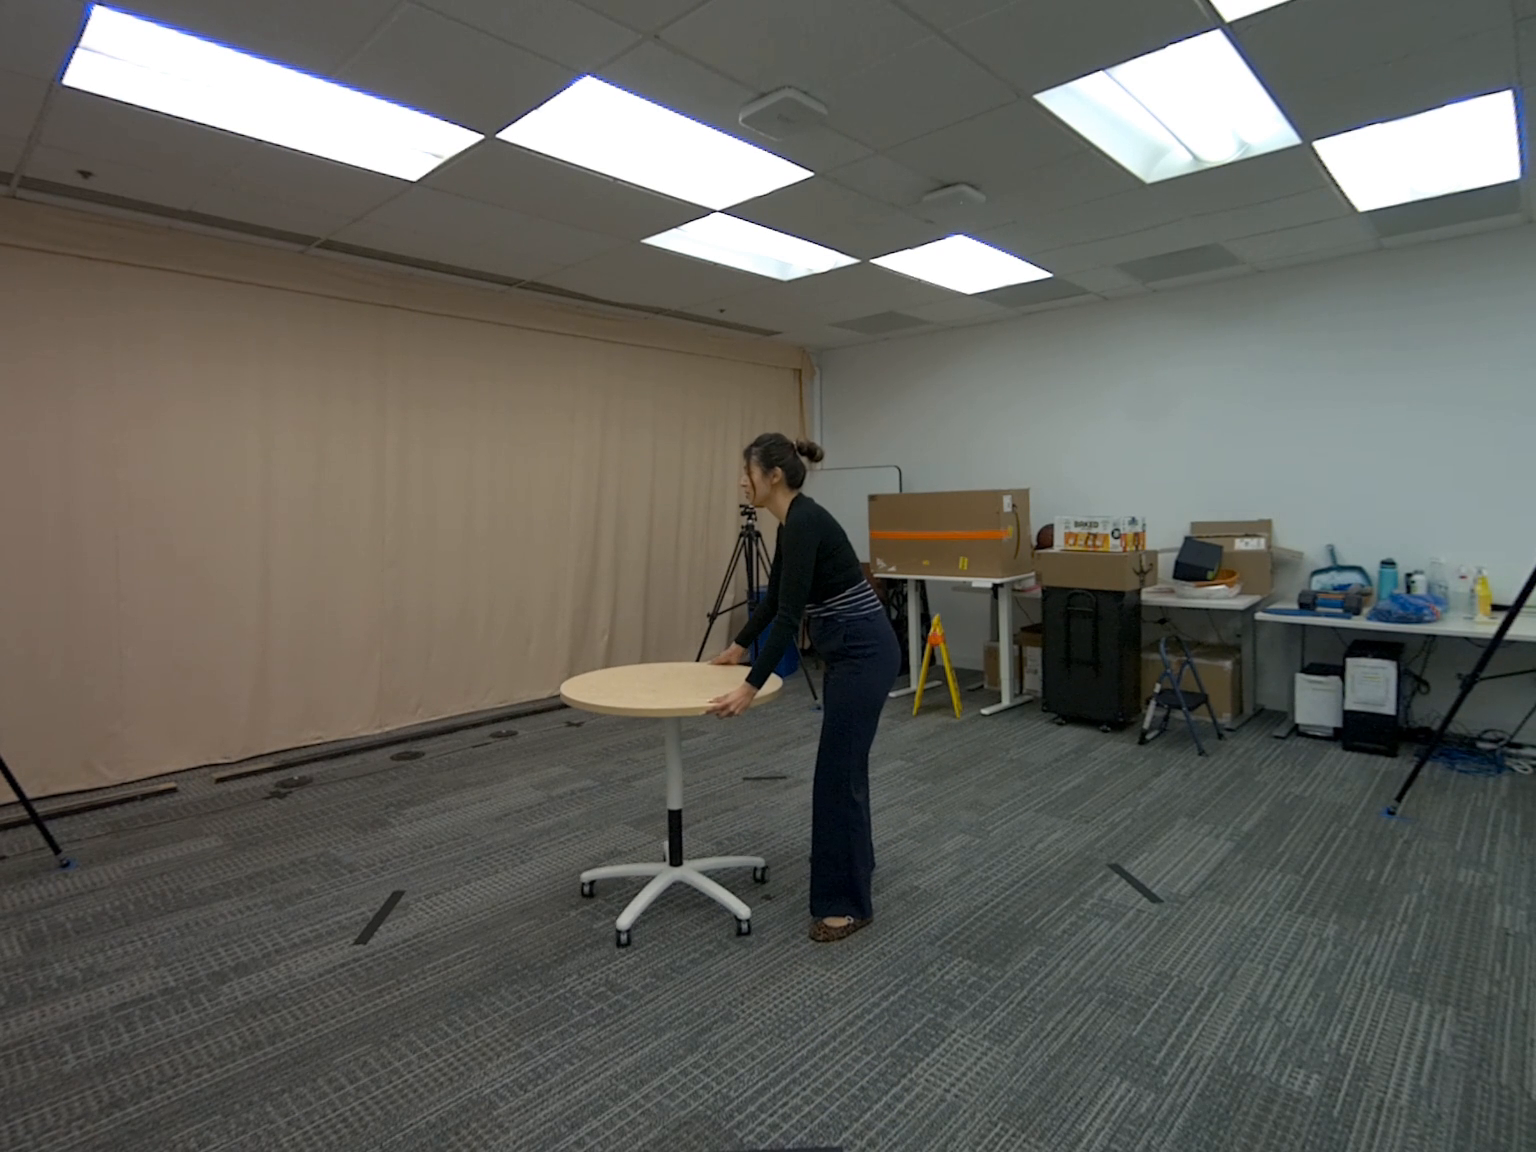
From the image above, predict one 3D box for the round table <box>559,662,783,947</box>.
[{"bbox_3d":[-0.318,0.764,2.936,0.763,0.792,0.767,-1,4,-2],"label":"round table"}]
